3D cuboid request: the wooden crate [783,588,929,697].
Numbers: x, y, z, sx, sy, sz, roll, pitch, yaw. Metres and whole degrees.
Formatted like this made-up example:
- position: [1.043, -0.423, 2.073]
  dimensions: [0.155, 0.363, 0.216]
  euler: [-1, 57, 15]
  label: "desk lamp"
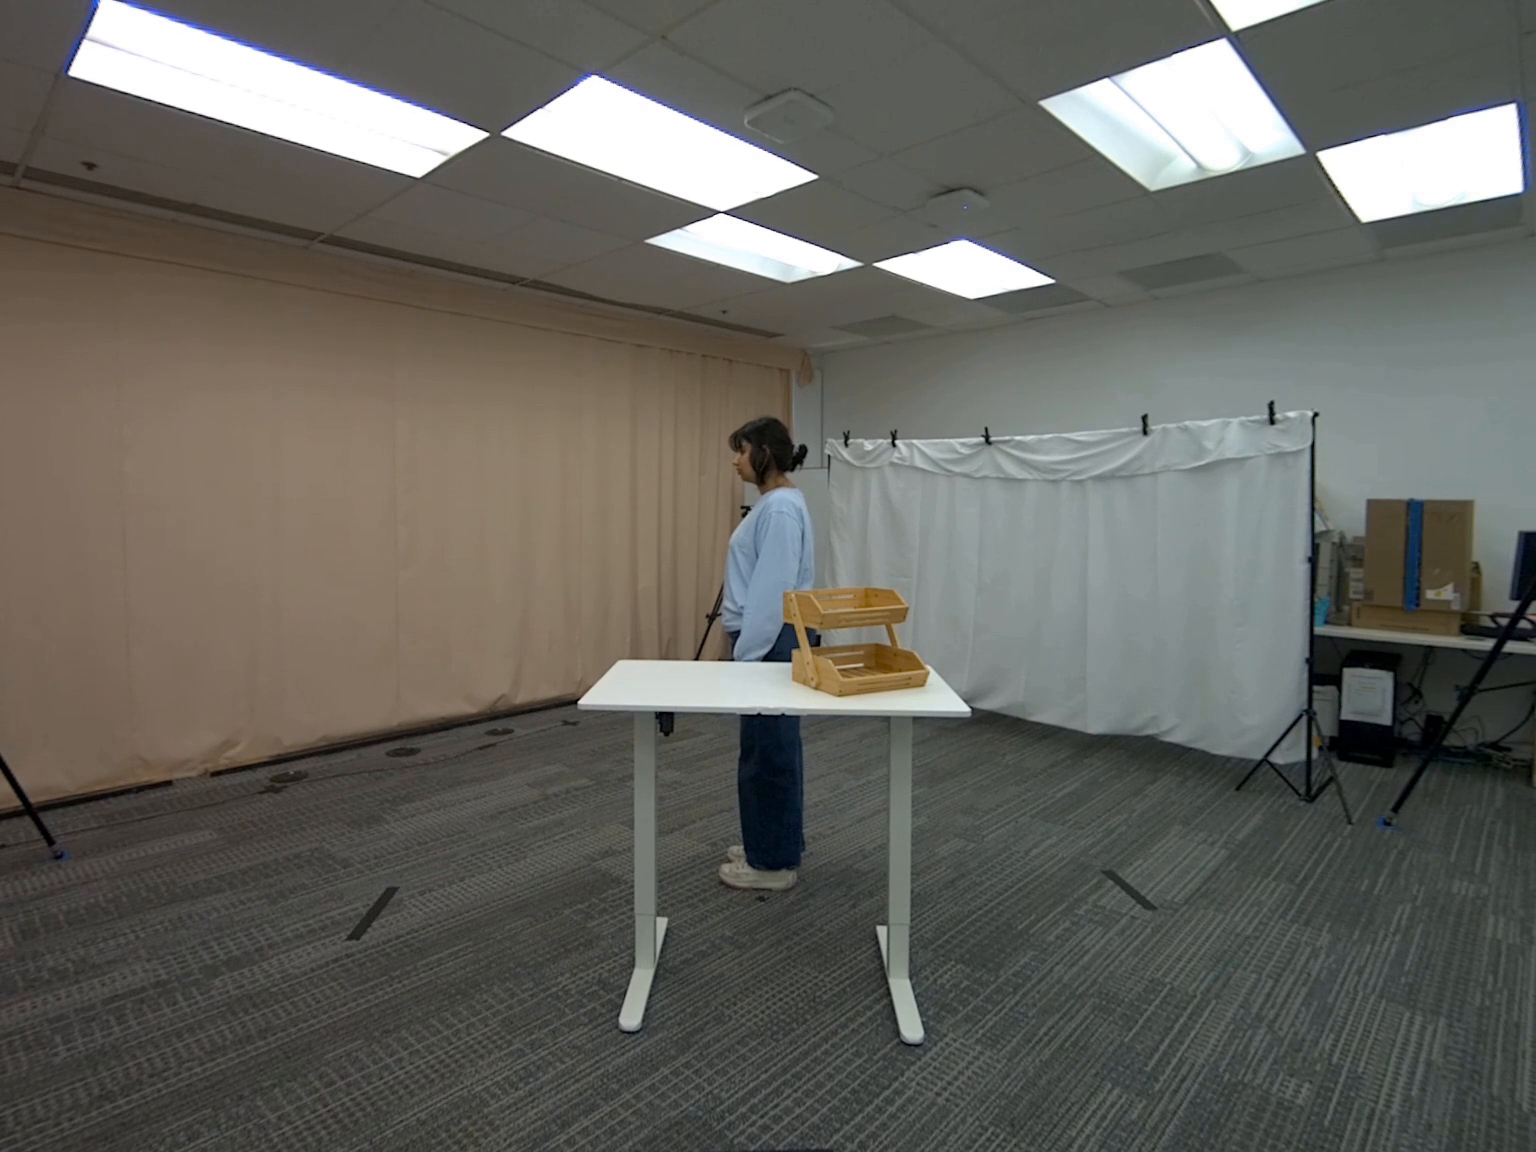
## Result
- position: [0.262, 0.177, 2.421]
  dimensions: [0.316, 0.273, 0.310]
  euler: [-2, 4, -28]
  label: "wooden crate"
